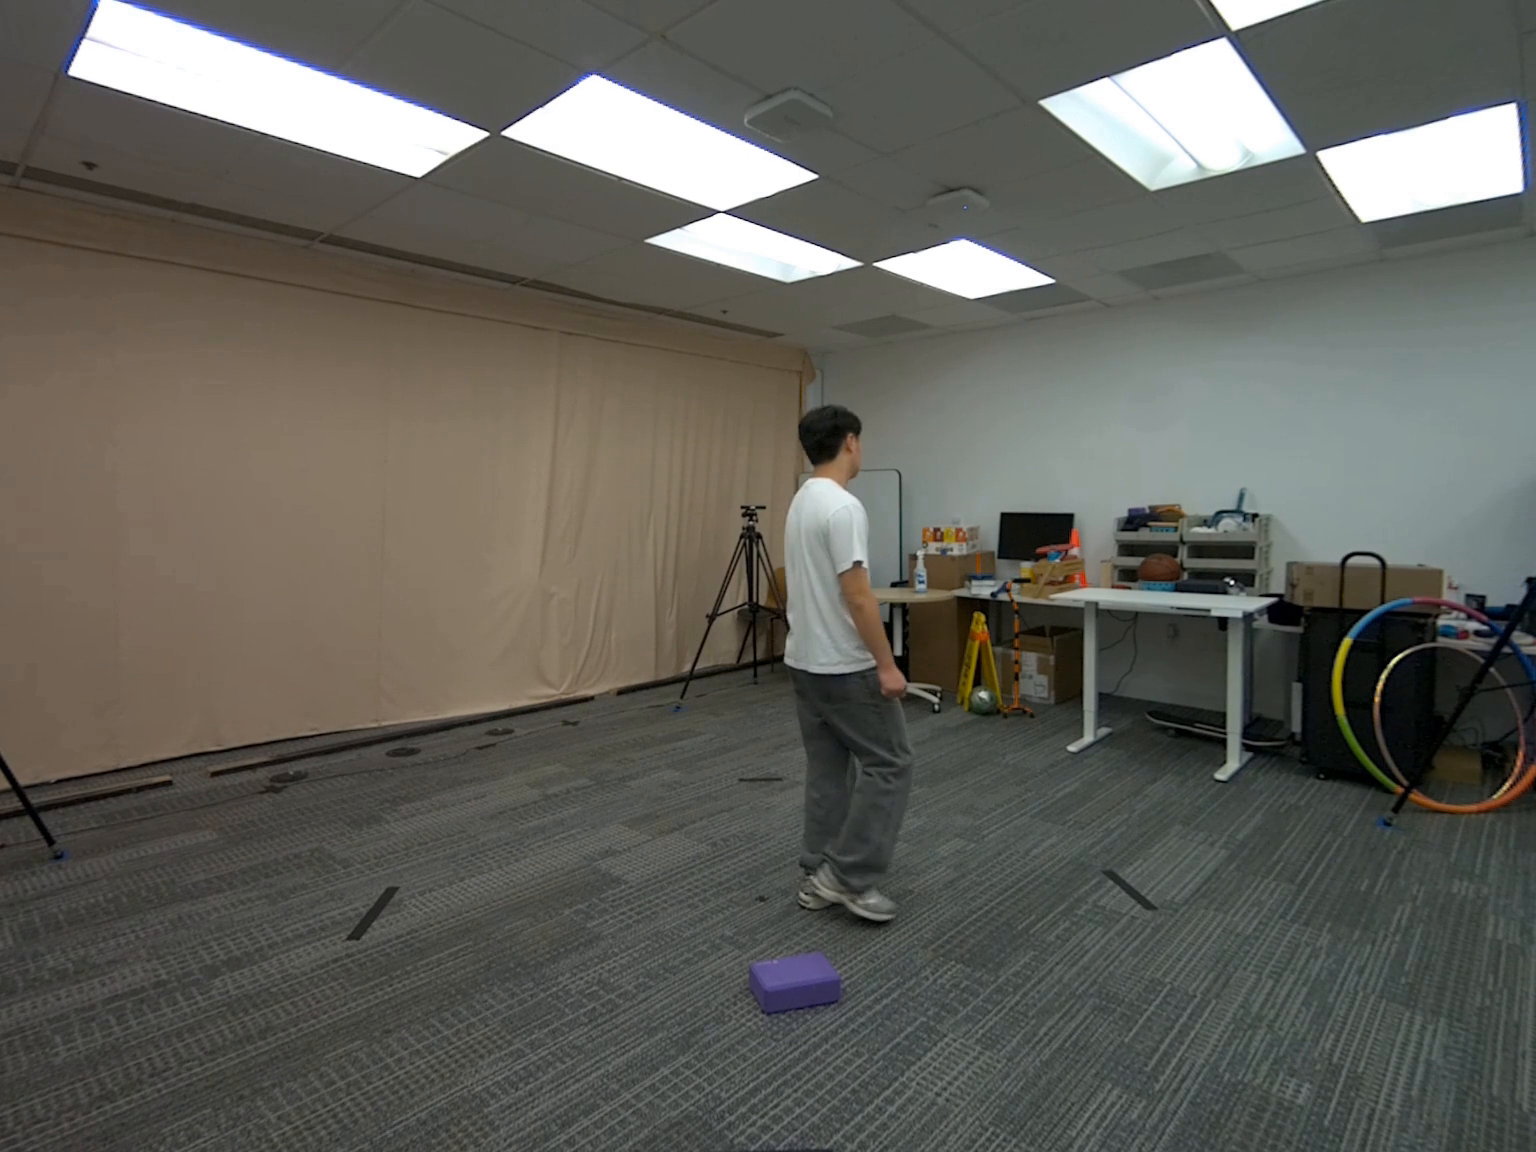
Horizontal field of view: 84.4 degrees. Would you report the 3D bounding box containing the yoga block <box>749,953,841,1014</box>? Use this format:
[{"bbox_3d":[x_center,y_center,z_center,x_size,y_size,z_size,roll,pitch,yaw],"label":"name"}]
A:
[{"bbox_3d":[0.080,1.153,2.391,0.225,0.076,0.152,-1,3,-17],"label":"yoga block"}]
